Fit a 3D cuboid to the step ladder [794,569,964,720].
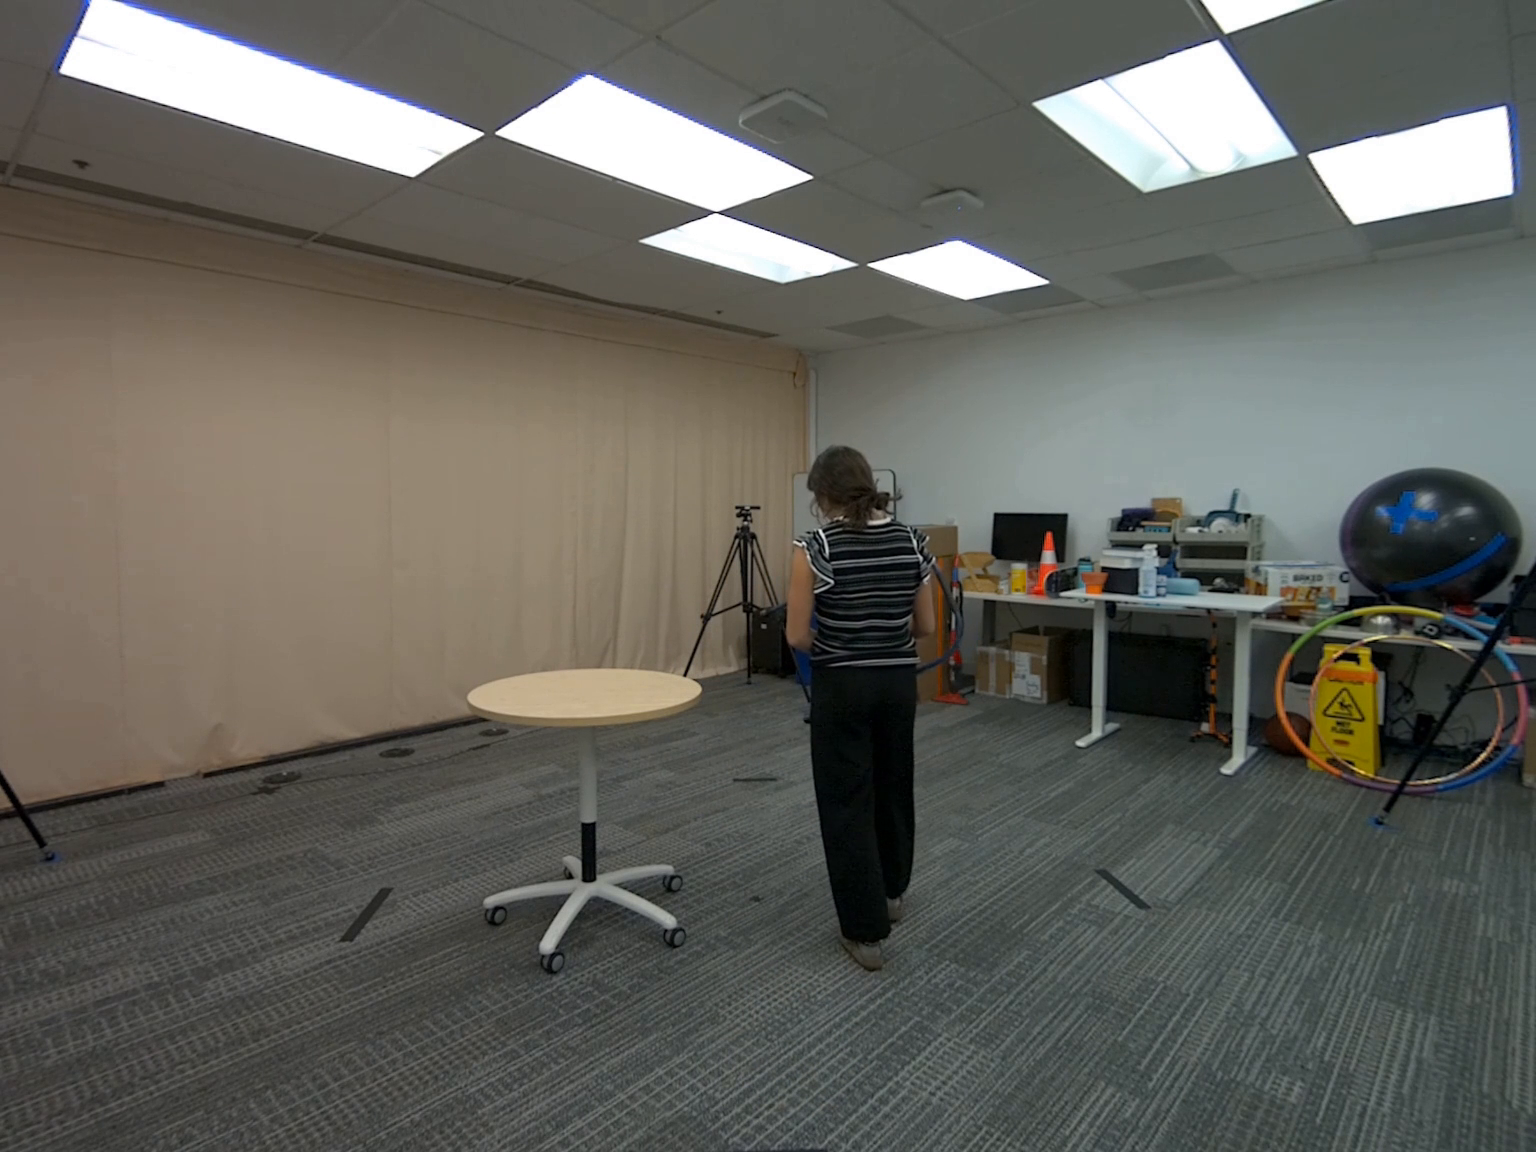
[{"bbox_3d":[0.358,0.173,2.844,0.340,0.436,0.615,-10,-17,-39],"label":"step ladder"}]
